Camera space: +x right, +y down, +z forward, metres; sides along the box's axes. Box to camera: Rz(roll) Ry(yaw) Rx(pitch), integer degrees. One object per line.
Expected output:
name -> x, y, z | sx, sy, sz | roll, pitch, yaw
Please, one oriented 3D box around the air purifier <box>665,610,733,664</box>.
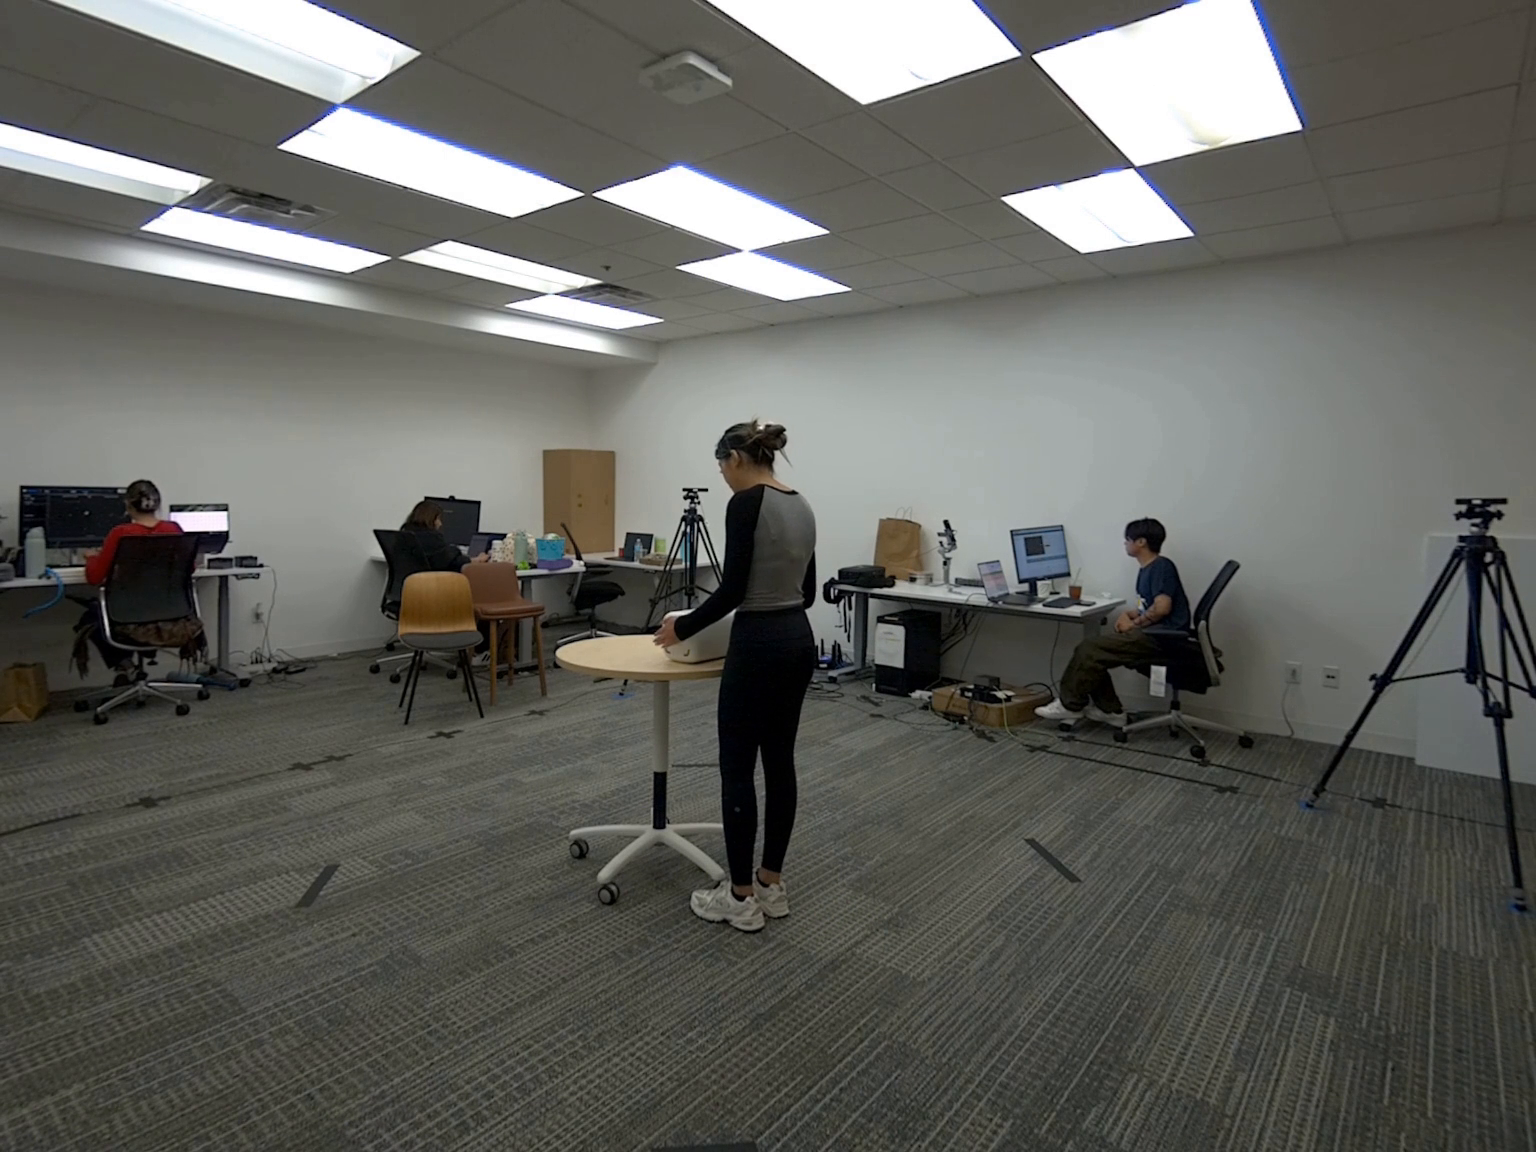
air purifier -> -0.240, 0.199, 2.980 | 0.176, 0.171, 0.257 | 3, 4, 37
